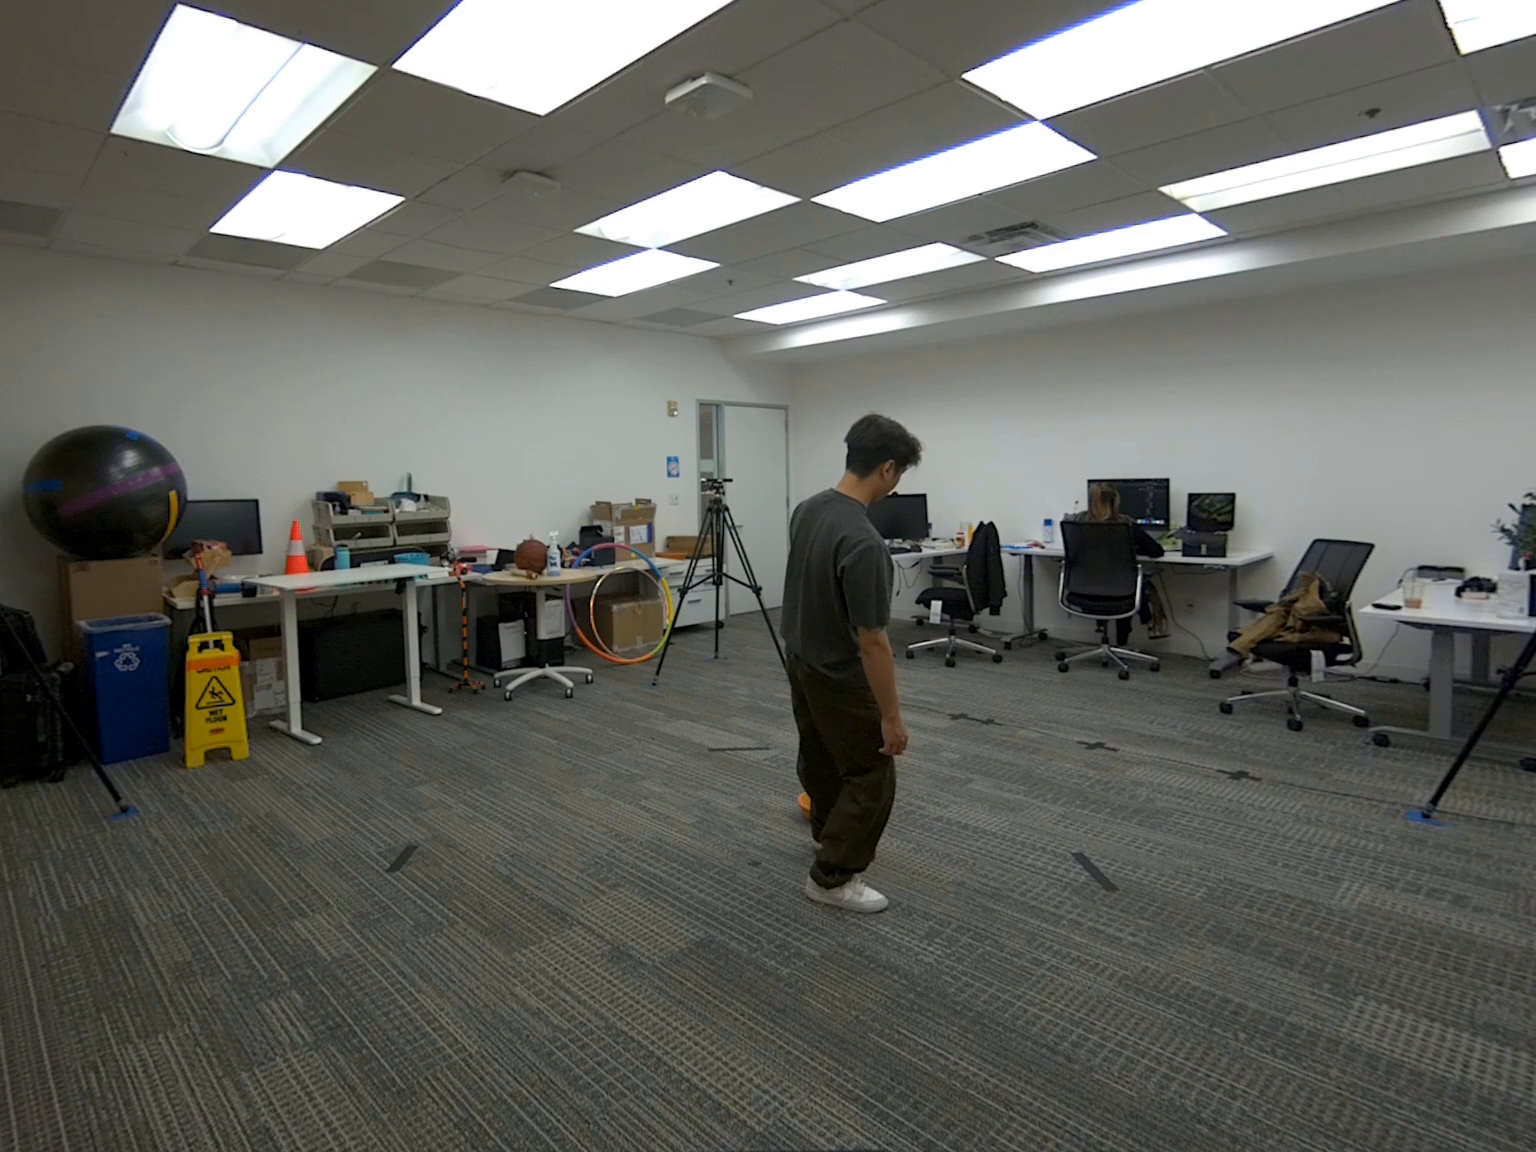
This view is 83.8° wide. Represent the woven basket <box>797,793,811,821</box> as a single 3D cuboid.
[{"bbox_3d":[0.301,0.956,3.526,0.349,0.073,0.255,-2,7,-4],"label":"woven basket"}]
